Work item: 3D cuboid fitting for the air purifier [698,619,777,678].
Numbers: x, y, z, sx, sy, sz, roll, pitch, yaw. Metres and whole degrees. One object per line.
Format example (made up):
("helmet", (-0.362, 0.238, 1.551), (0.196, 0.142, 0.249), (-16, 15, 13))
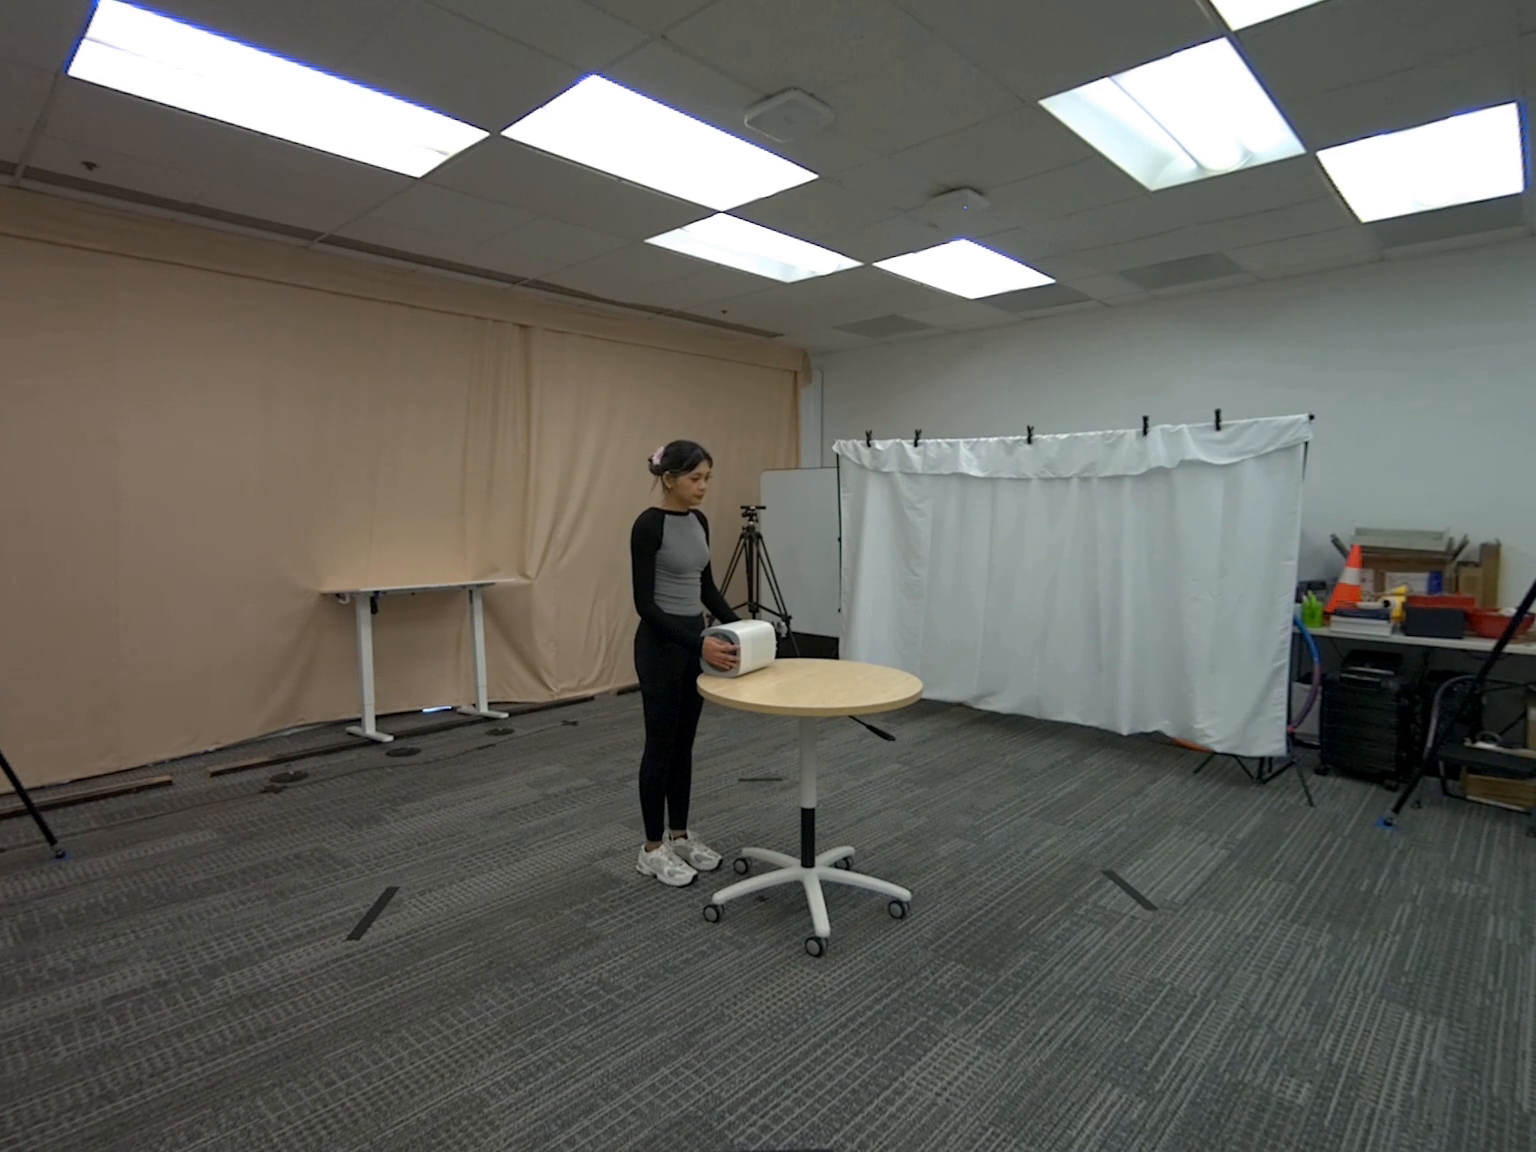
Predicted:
("air purifier", (-0.095, 0.258, 3.036), (0.176, 0.171, 0.258), (0, 5, 32))
